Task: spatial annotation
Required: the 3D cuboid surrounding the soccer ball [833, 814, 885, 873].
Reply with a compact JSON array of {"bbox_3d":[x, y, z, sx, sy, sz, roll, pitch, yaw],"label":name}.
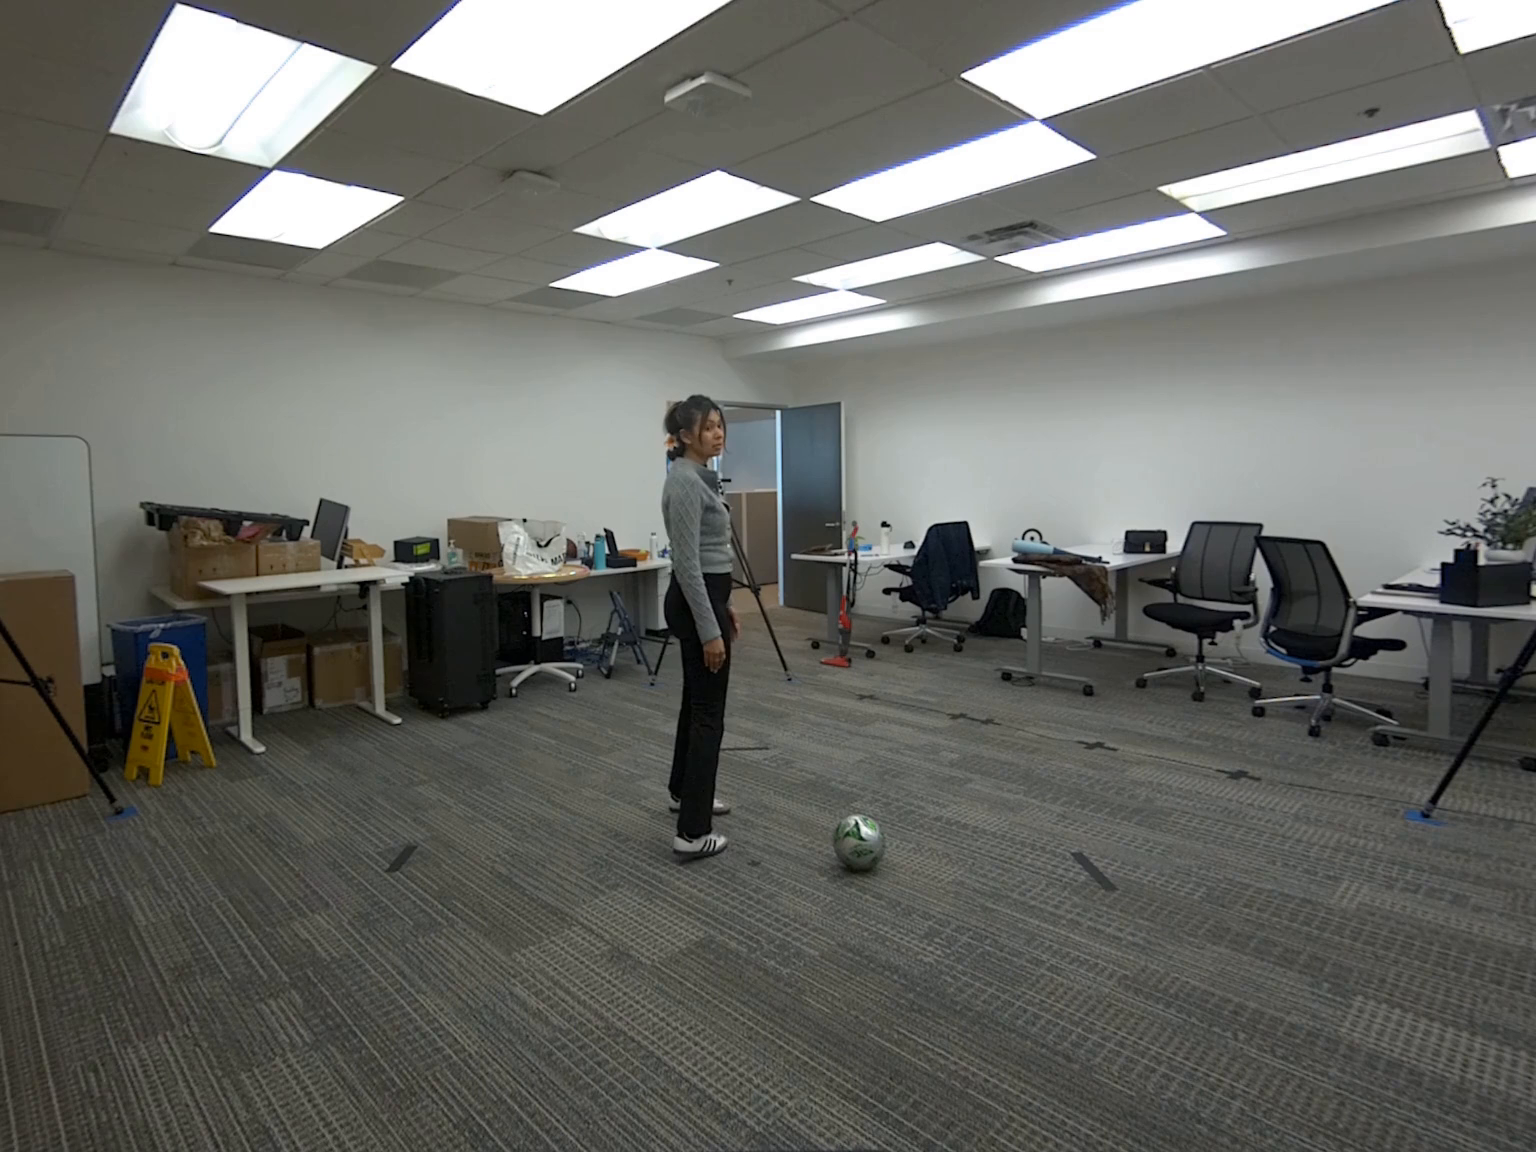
[{"bbox_3d":[0.327,0.951,3.052,0.187,0.187,0.188,-1,5,-2],"label":"soccer ball"}]
